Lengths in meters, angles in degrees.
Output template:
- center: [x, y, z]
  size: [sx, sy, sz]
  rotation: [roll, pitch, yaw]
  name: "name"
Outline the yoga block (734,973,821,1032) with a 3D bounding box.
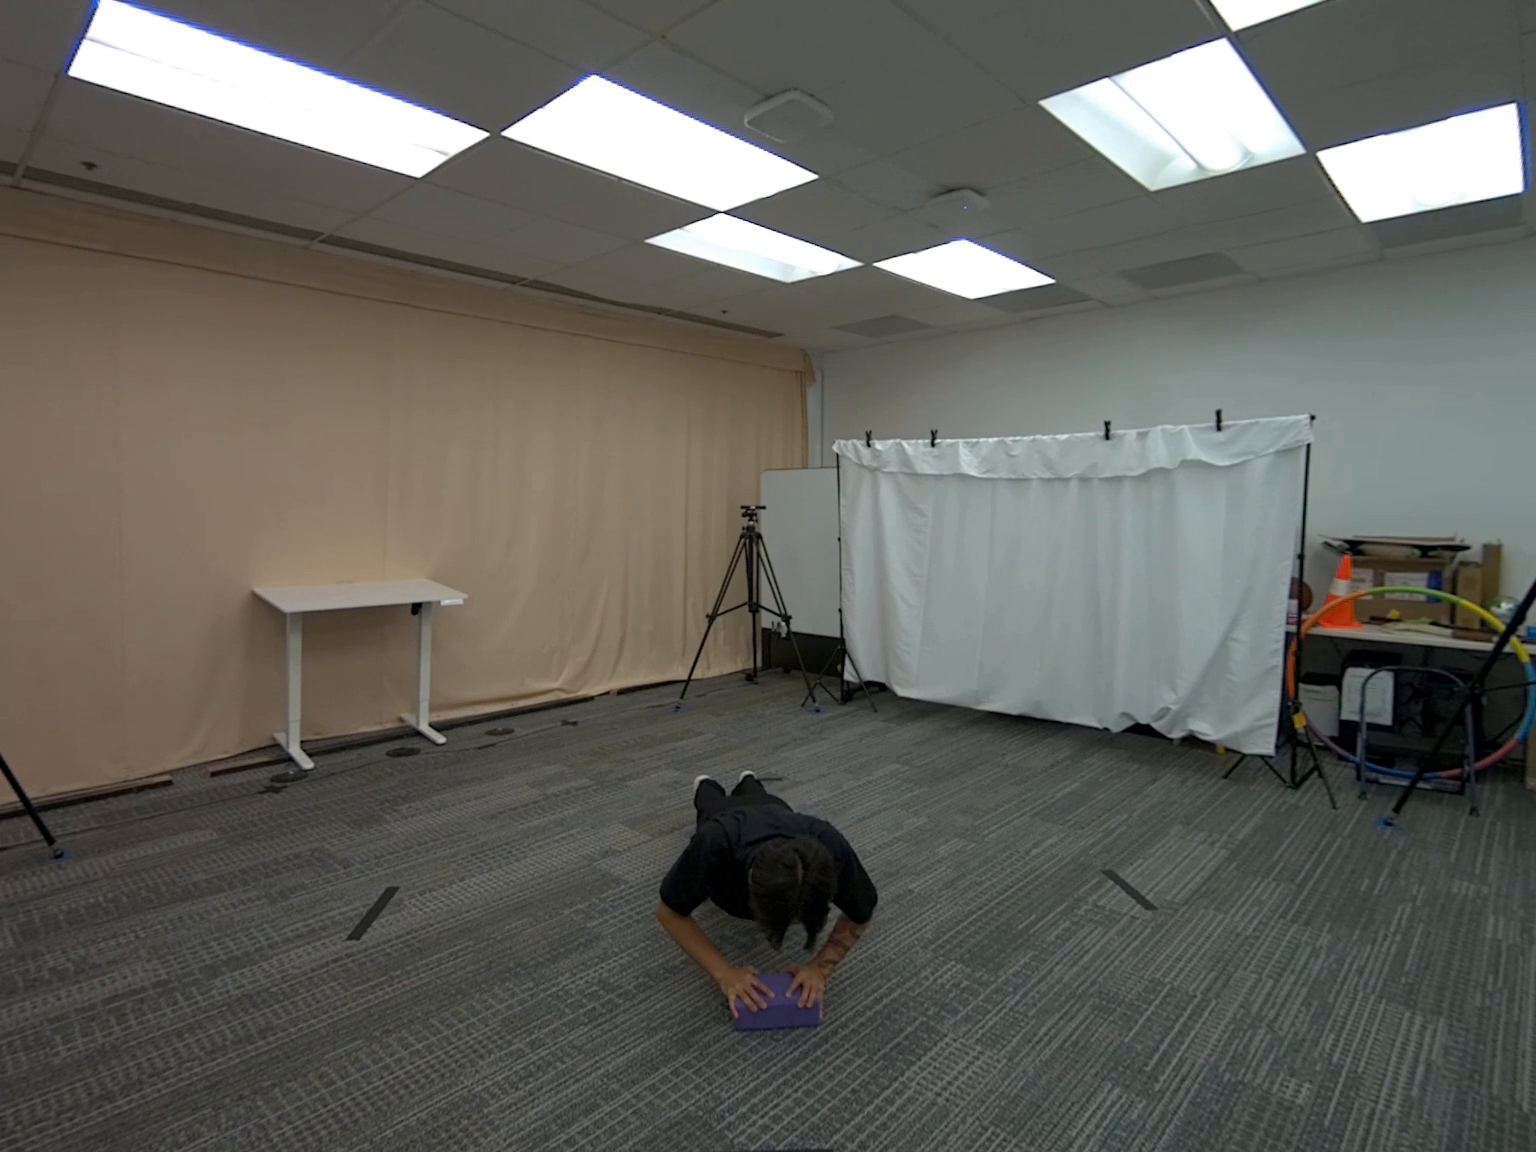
- center: [0.017, 1.162, 2.314]
  size: [0.228, 0.076, 0.150]
  rotation: [1, 6, -7]
  name: "yoga block"
